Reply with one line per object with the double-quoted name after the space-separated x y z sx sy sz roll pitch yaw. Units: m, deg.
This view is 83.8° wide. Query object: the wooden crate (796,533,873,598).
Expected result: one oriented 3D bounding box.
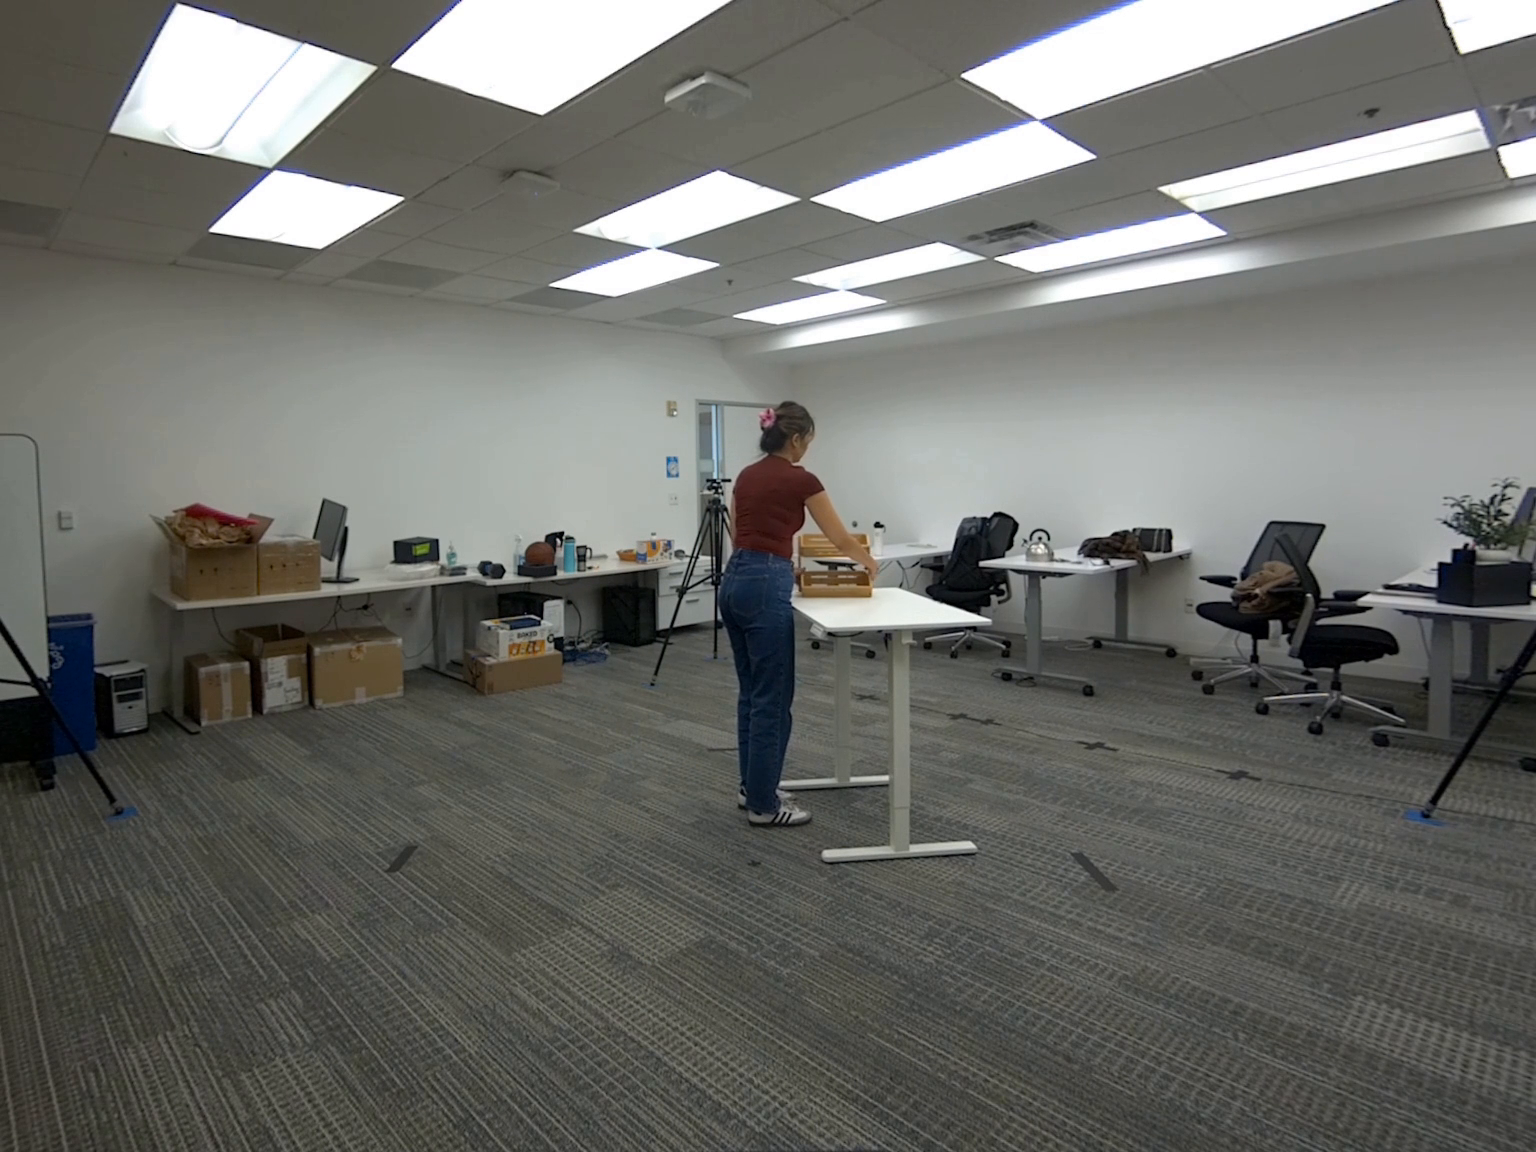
0.303 -0.055 3.808 0.326 0.272 0.302 -1 5 4 "wooden crate"
